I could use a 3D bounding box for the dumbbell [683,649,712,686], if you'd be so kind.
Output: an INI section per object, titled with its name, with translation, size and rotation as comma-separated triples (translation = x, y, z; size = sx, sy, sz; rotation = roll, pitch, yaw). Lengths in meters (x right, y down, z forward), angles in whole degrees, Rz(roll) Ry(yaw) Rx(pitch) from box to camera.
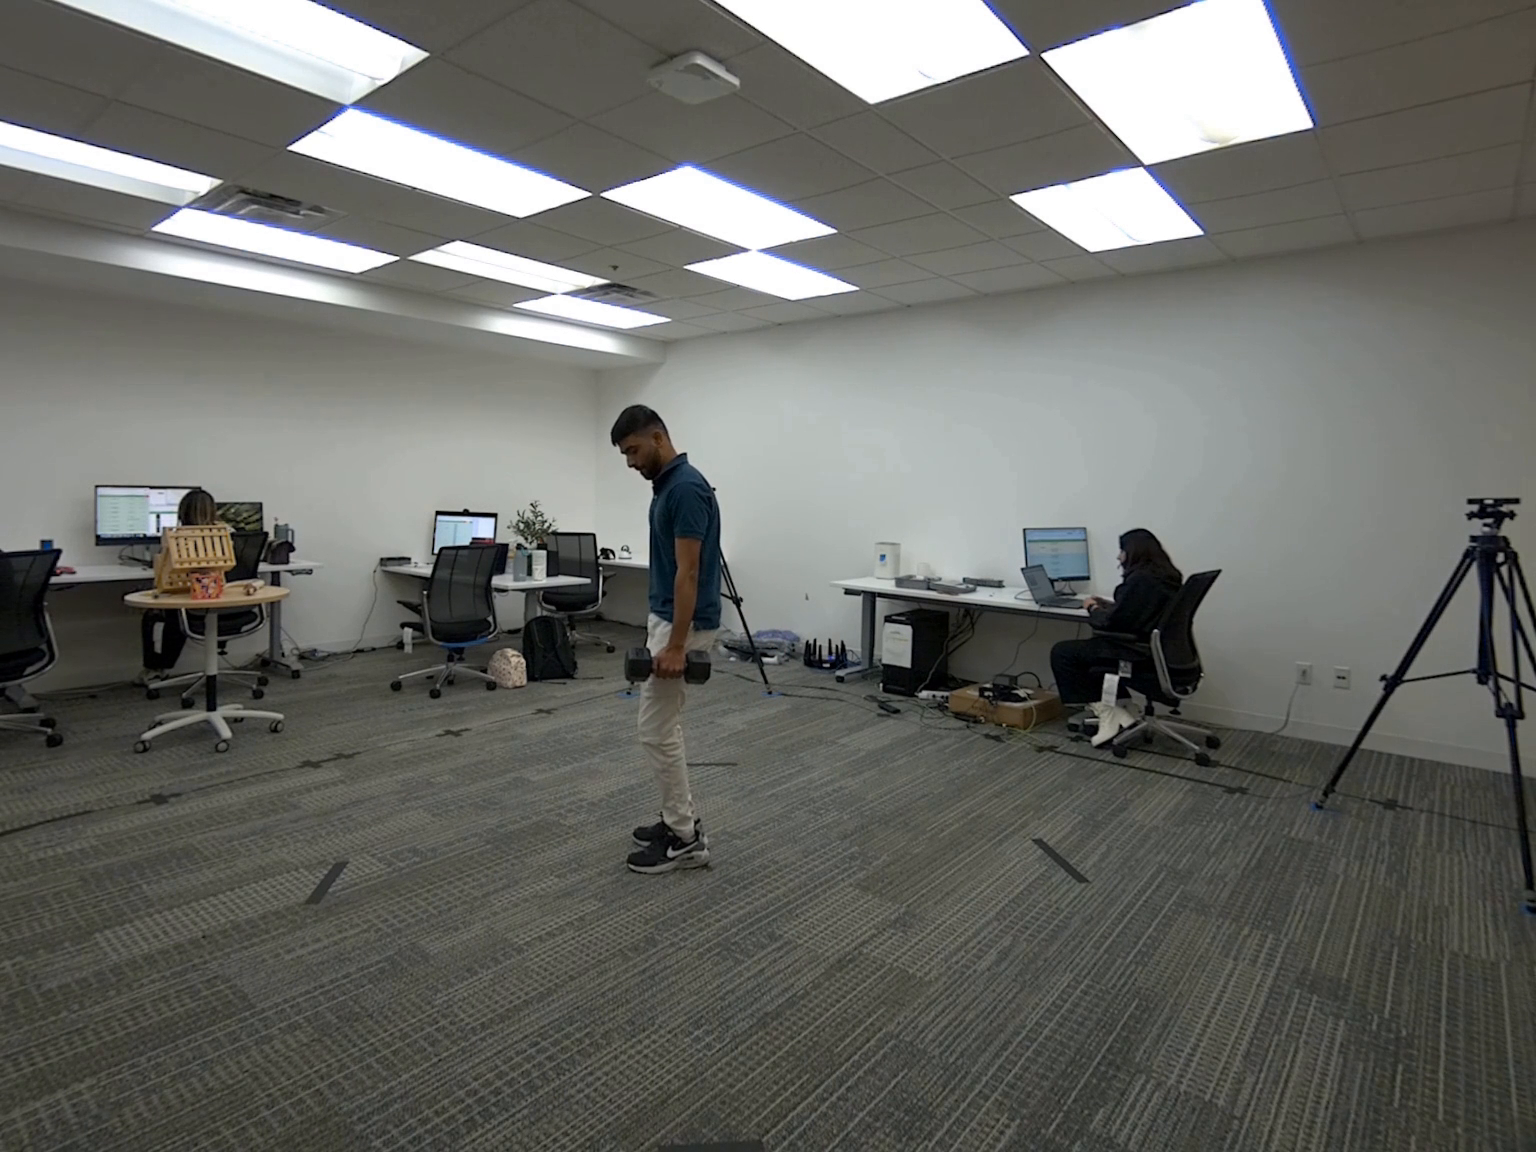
[dumbbell]
translation = -0.355, 0.307, 2.964
size = 0.289, 0.123, 0.111
rotation = 4, 3, -14
